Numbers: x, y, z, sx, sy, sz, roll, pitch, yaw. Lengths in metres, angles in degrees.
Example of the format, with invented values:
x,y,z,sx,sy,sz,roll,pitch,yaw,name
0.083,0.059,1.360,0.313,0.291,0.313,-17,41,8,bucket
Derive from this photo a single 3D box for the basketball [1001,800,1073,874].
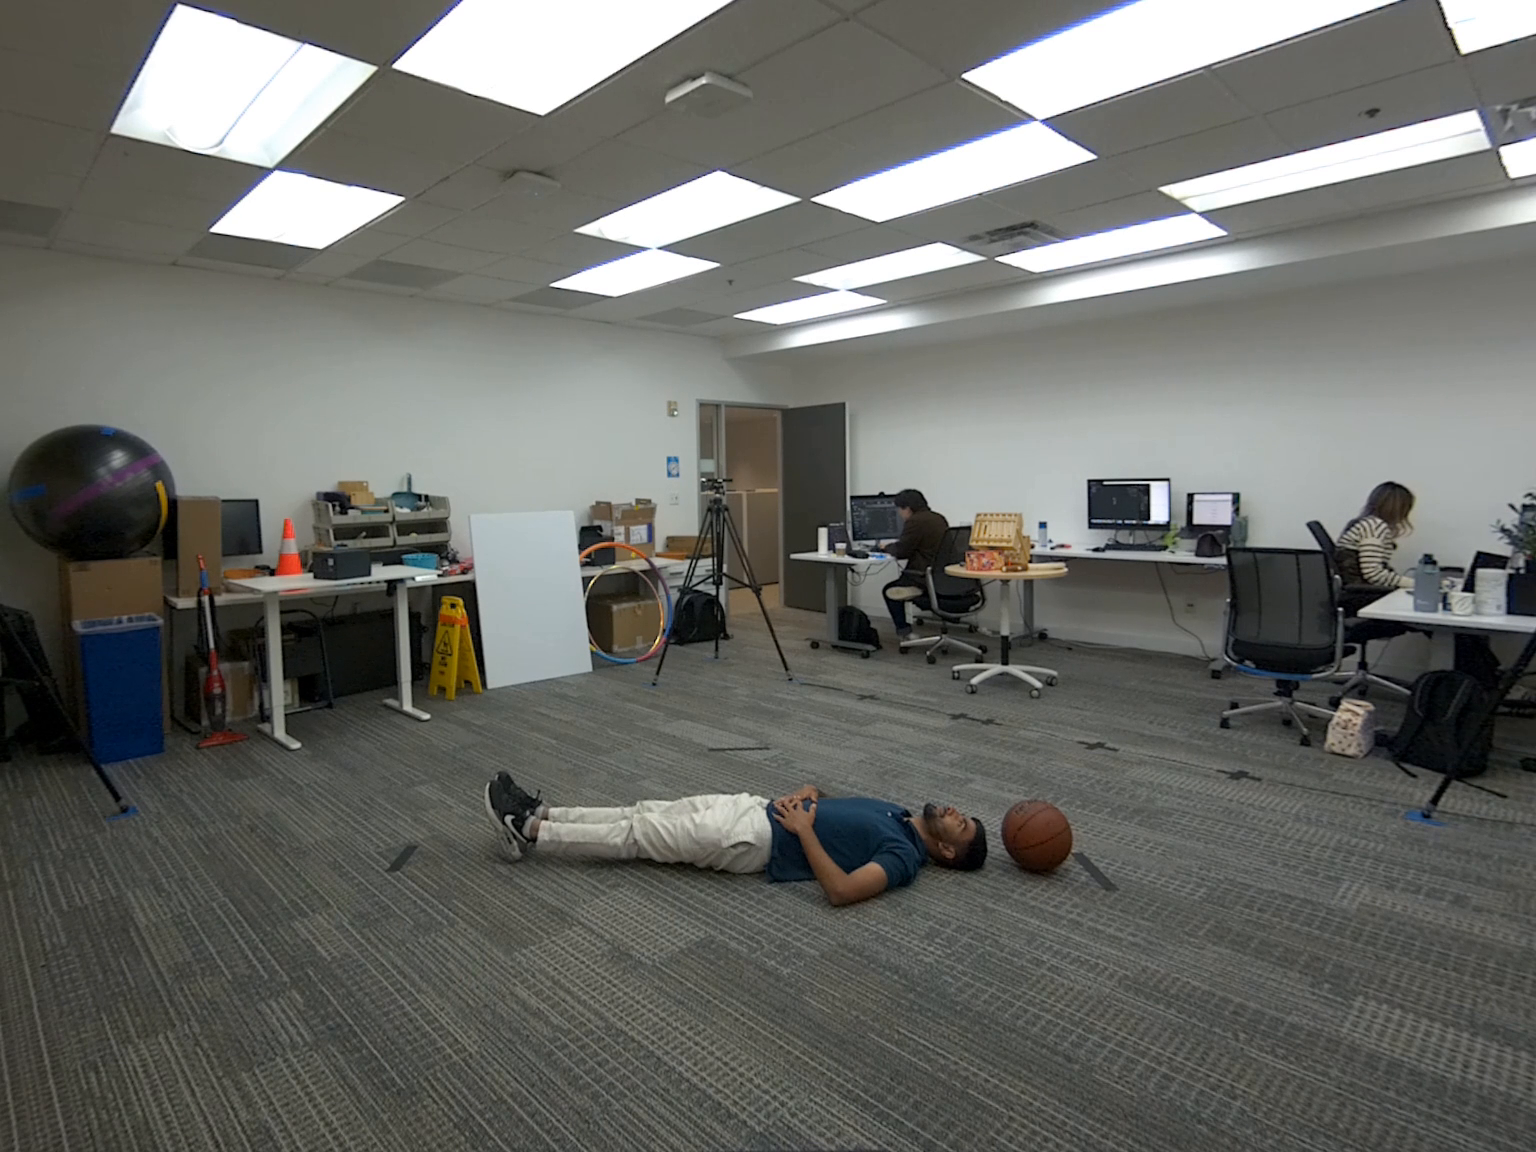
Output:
x,y,z,sx,sy,sz,roll,pitch,yaw,name
0.959,0.917,3.025,0.236,0.235,0.237,-1,5,-2,basketball
